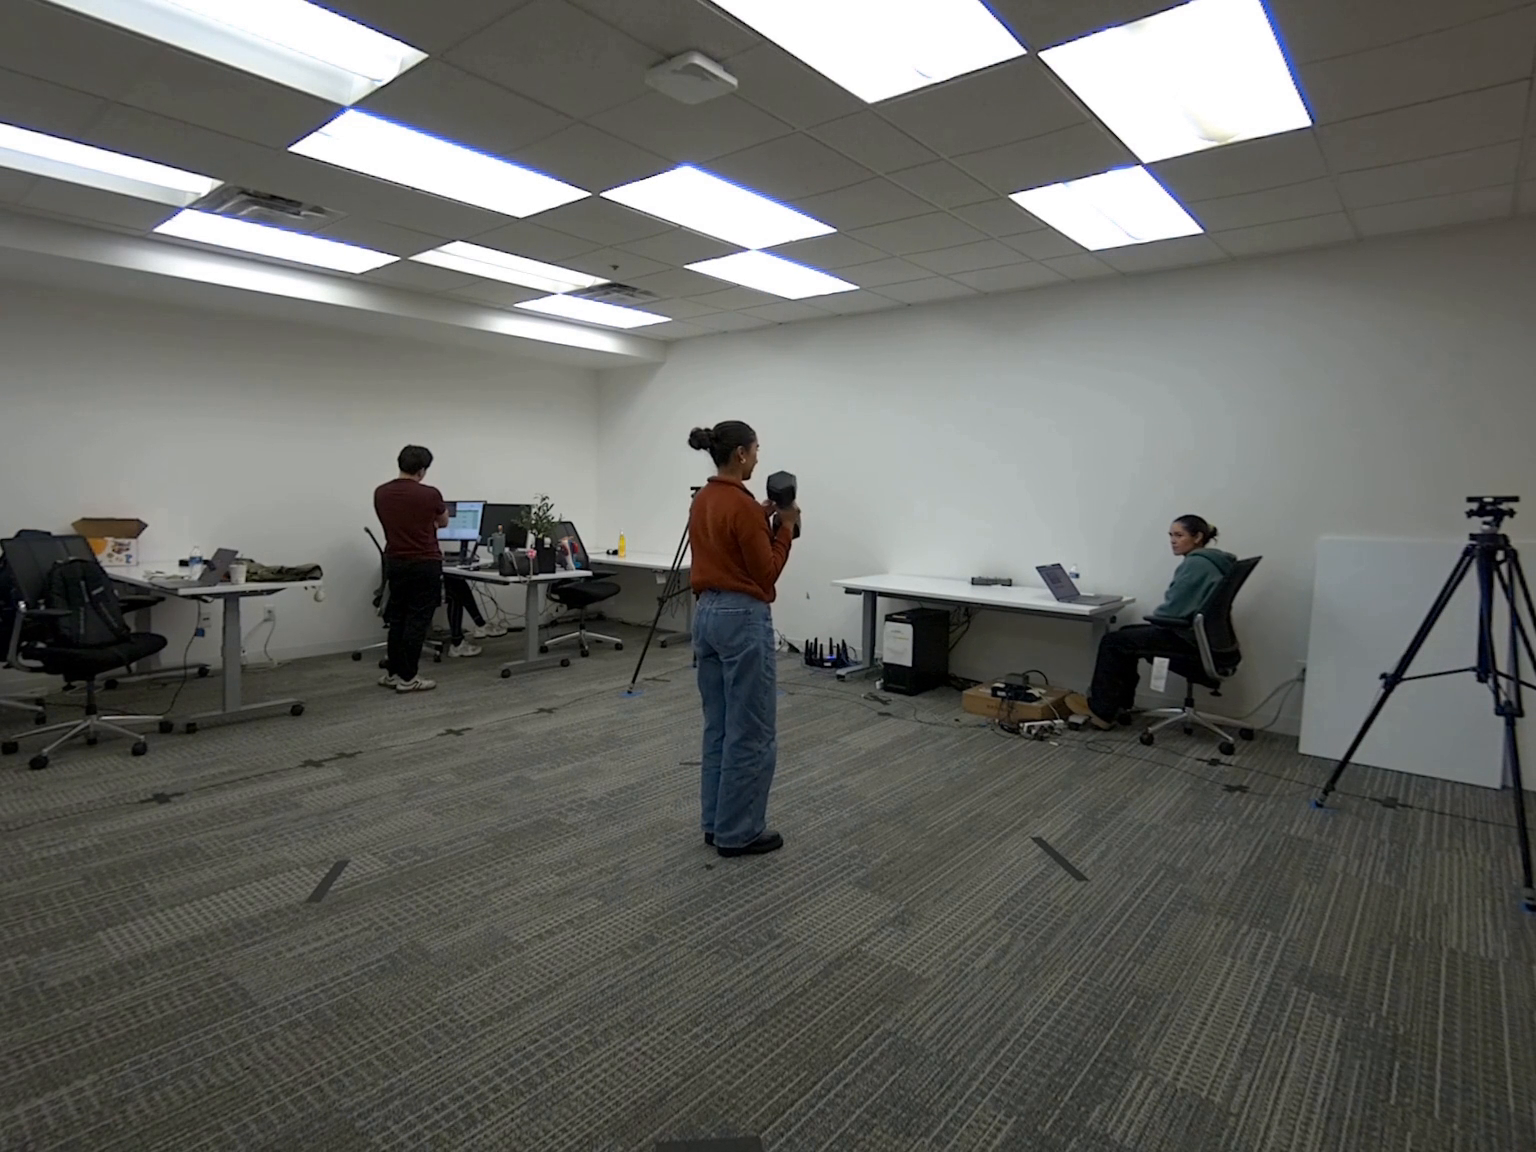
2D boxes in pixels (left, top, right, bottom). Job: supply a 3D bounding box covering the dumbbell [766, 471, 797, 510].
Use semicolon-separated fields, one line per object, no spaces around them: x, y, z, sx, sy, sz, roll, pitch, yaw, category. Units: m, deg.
0.049;-0.266;3.255;0.110;0.125;0.283;3;-41;13;dumbbell
